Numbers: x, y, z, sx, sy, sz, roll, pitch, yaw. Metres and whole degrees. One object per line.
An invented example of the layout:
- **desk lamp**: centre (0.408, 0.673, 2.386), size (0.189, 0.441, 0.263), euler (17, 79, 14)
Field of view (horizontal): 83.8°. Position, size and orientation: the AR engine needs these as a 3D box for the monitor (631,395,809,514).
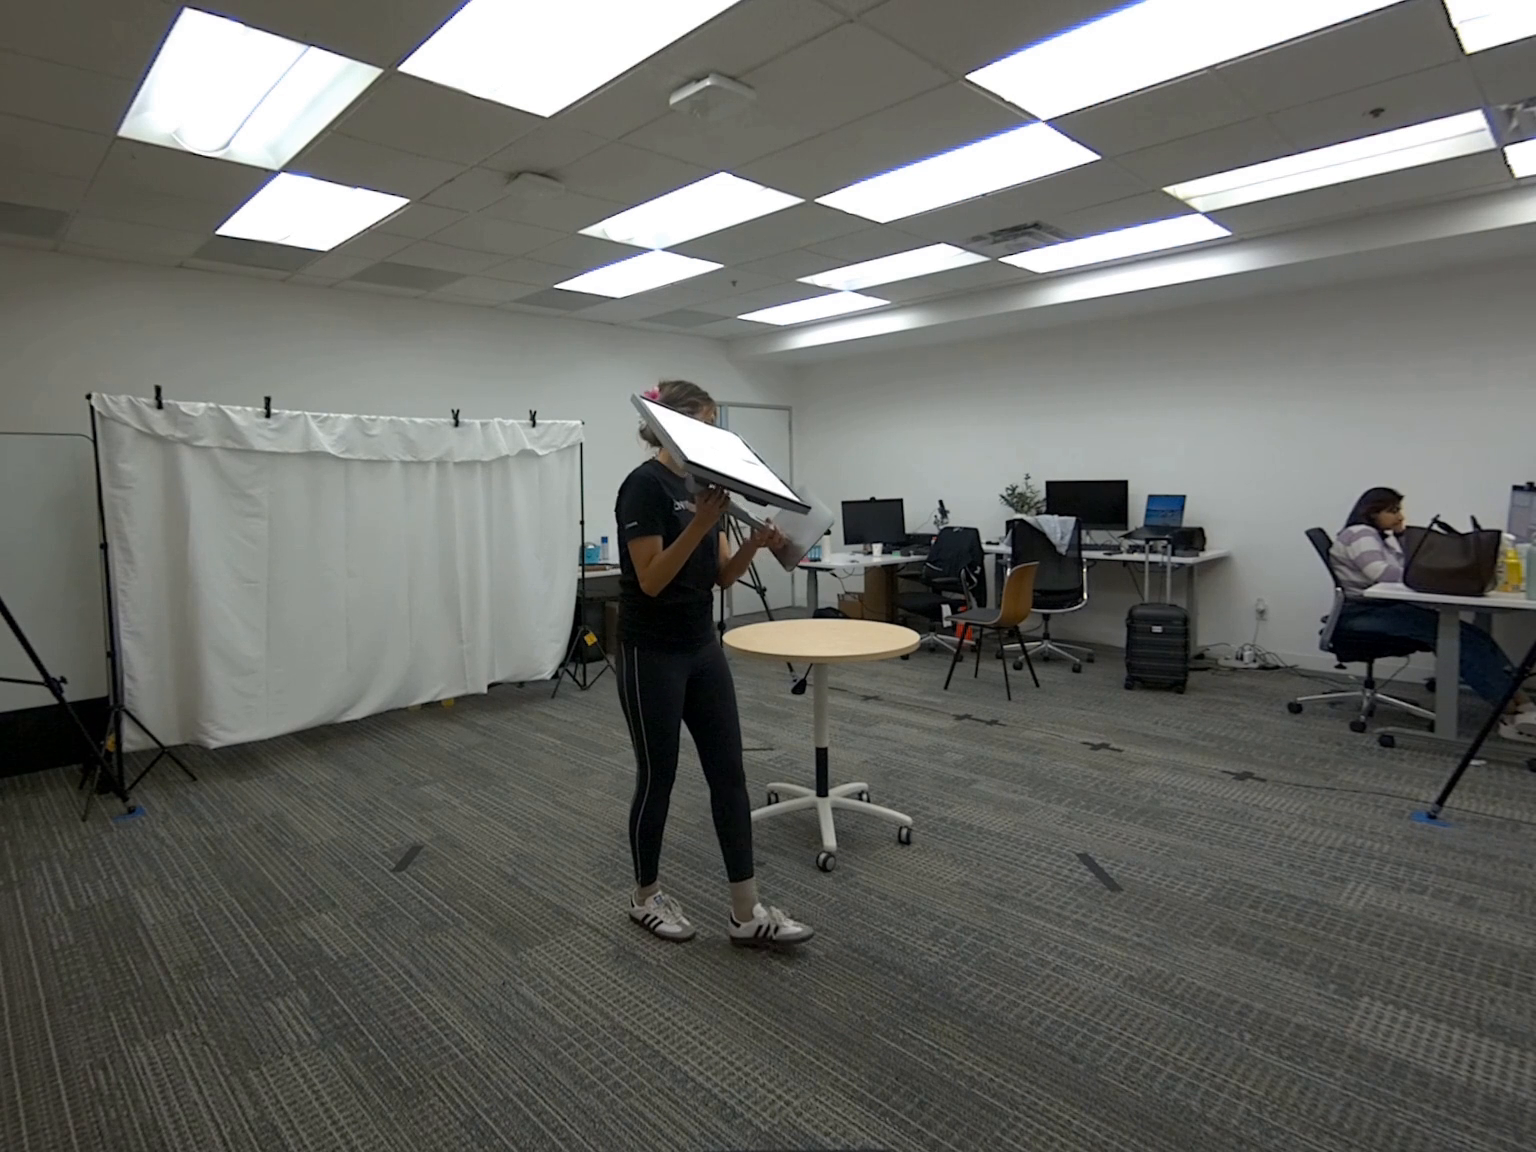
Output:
- **monitor**: centre (-0.085, -0.265, 2.306), size (0.505, 0.187, 0.558), euler (35, 9, -31)
